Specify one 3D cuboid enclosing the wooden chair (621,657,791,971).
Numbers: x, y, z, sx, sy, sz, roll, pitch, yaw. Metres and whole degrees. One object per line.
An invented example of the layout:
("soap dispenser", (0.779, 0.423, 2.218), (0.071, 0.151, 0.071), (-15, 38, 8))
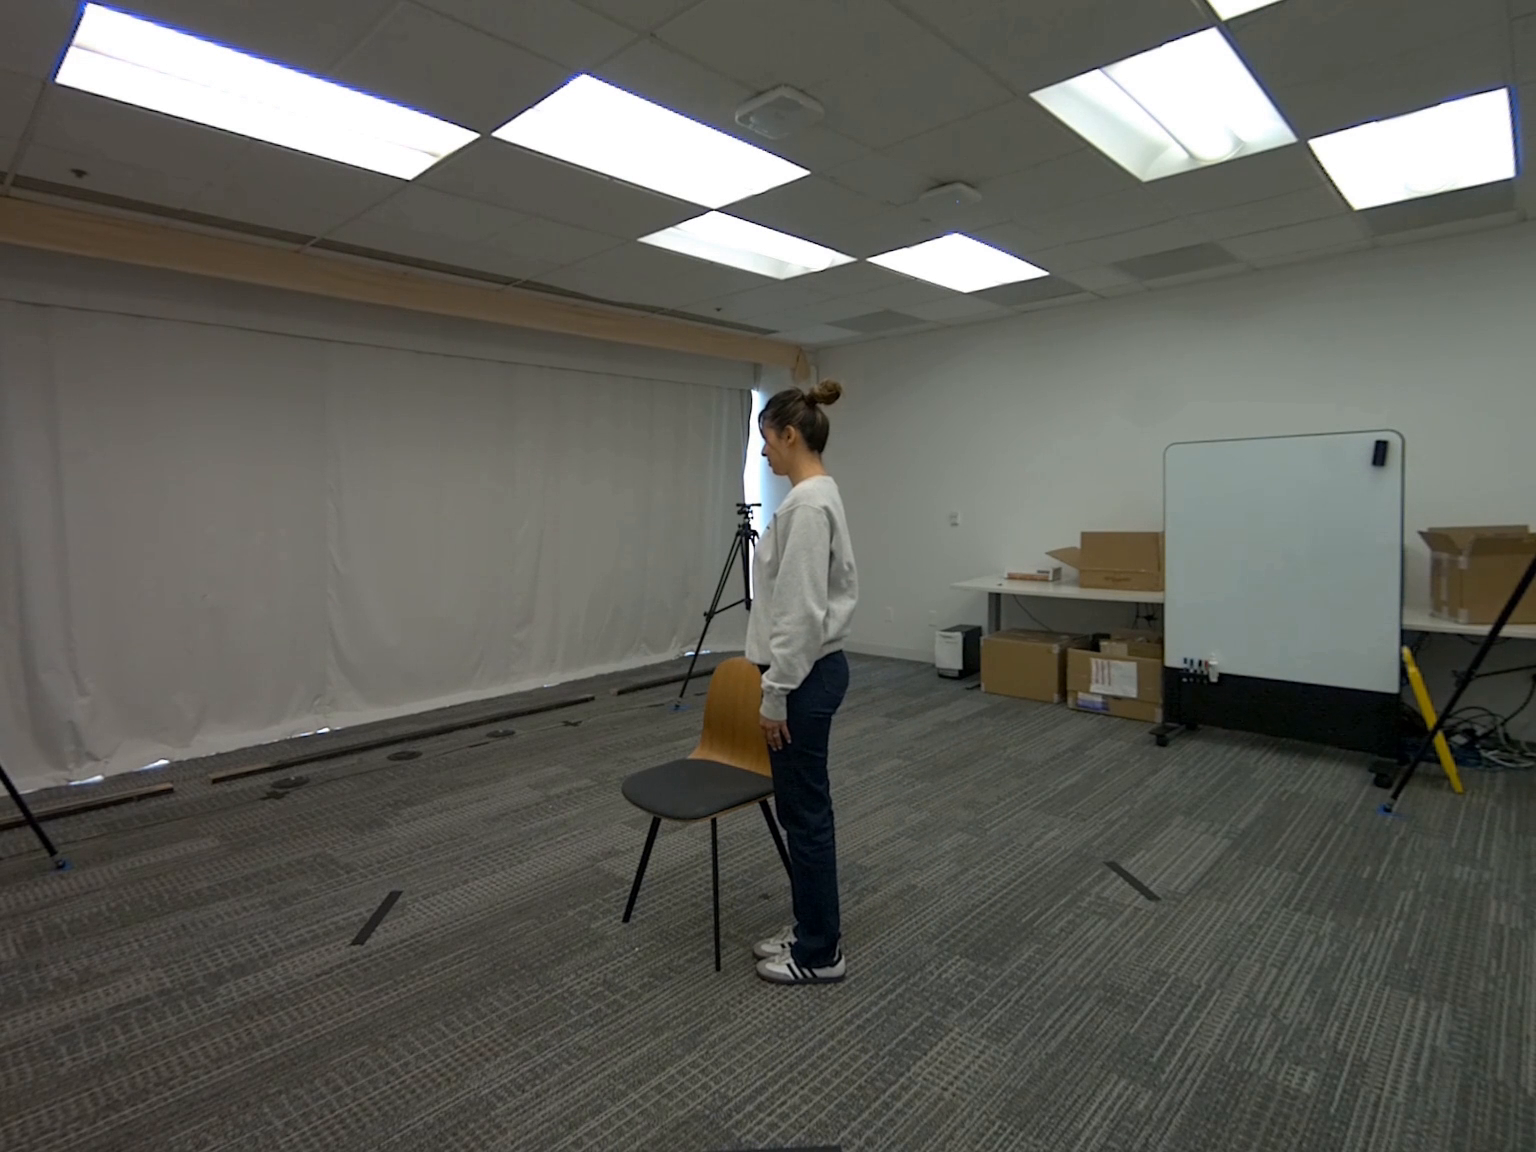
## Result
("wooden chair", (-0.181, 0.730, 2.793), (0.494, 0.877, 0.506), (3, 1, 43))
